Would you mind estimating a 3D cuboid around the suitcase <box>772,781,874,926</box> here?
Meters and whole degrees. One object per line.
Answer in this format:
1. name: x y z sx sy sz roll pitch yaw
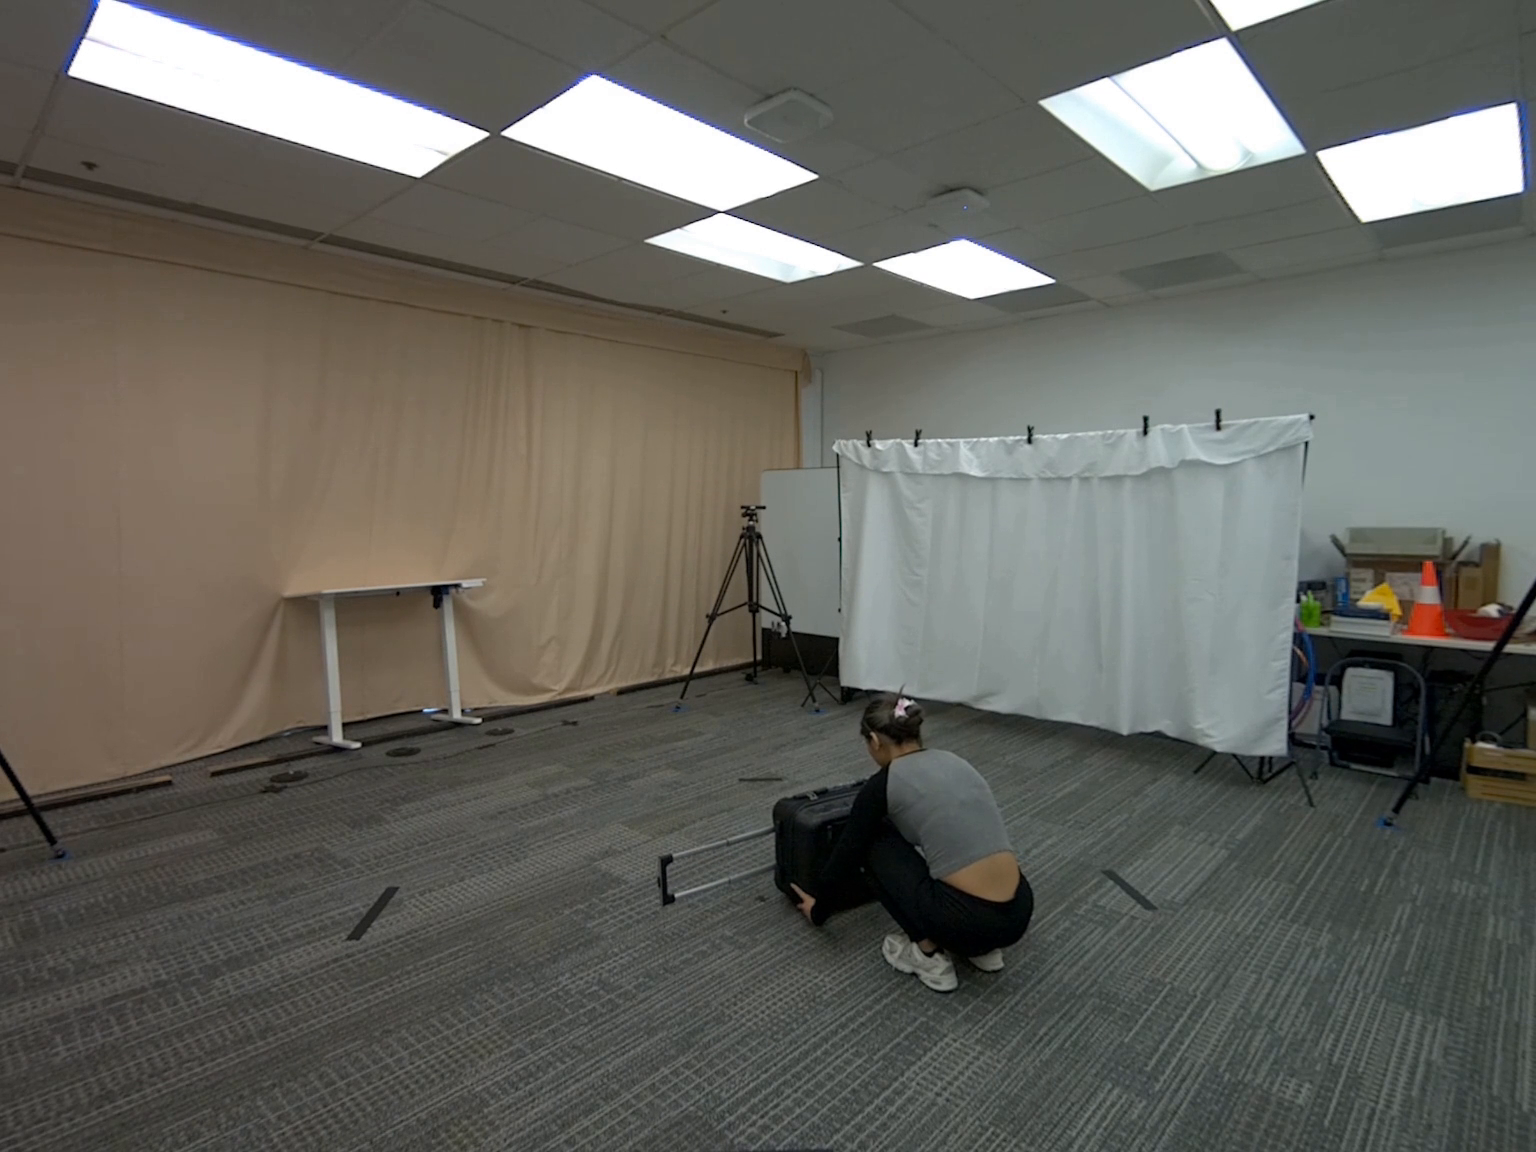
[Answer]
1. suitcase: 0.113 0.959 2.908 0.951 0.384 0.264 -3 2 -33
